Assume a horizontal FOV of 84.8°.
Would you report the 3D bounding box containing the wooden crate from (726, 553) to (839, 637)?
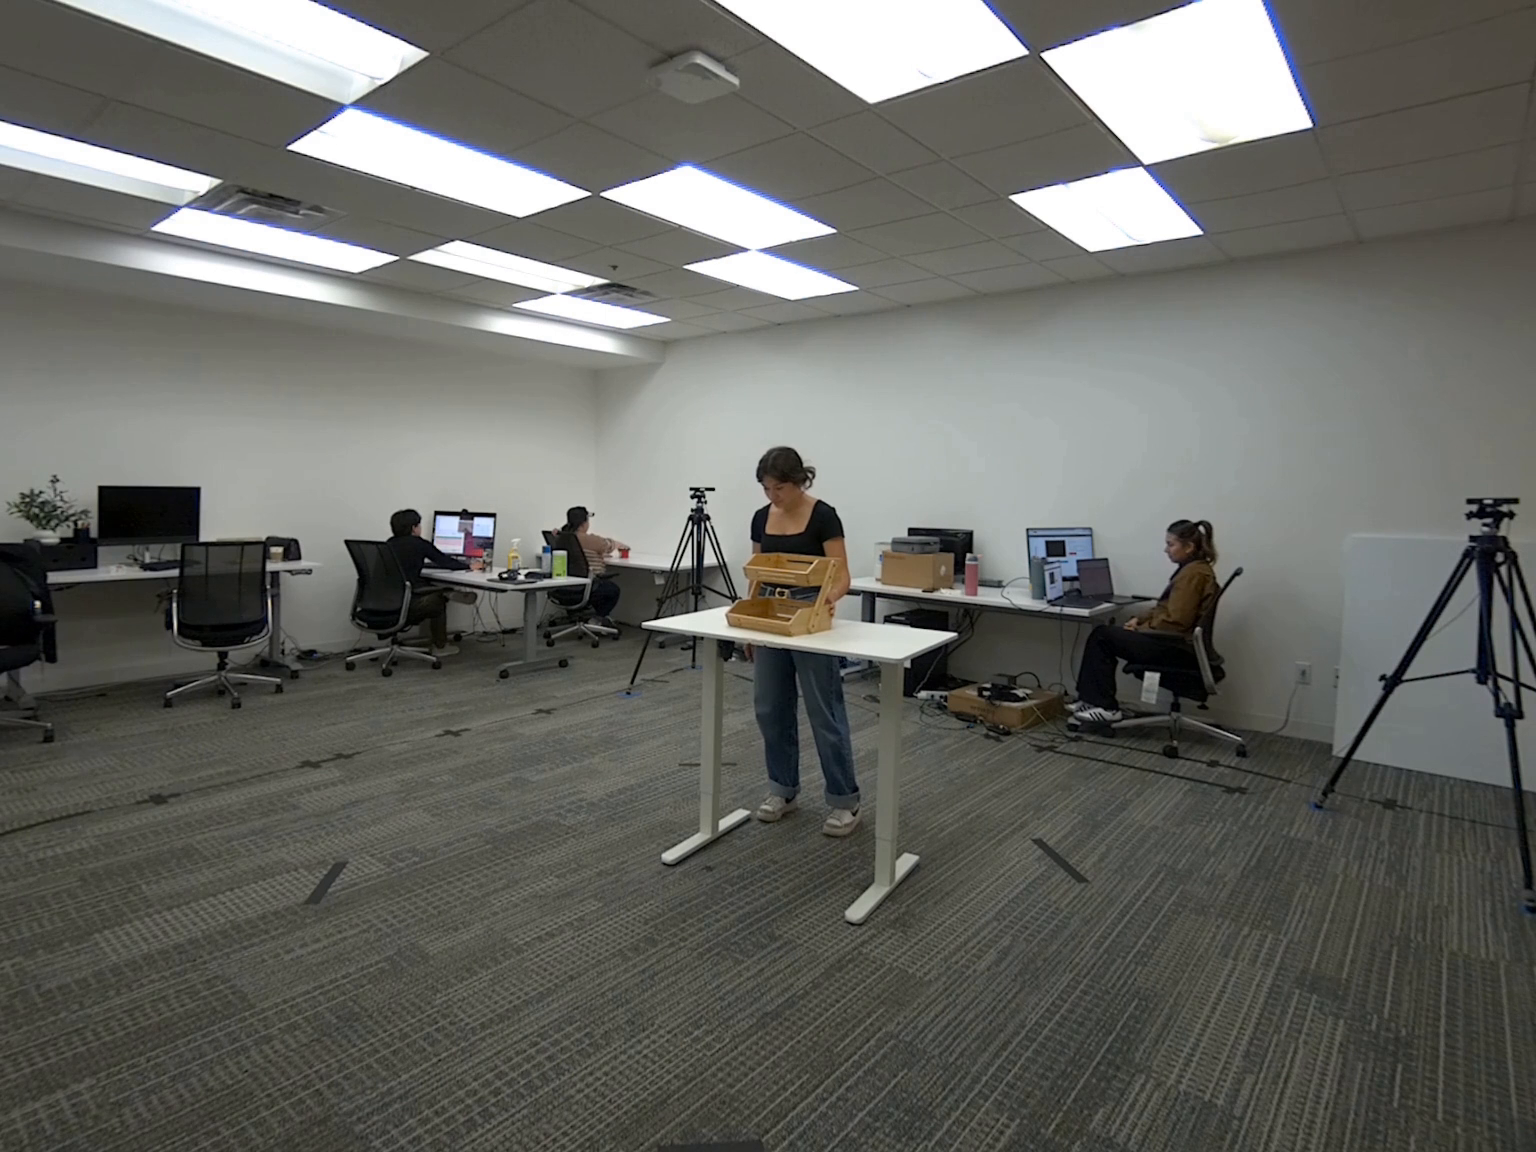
[{"bbox_3d":[0.046,0.053,3.131,0.336,0.272,0.293,6,5,41],"label":"wooden crate"}]
